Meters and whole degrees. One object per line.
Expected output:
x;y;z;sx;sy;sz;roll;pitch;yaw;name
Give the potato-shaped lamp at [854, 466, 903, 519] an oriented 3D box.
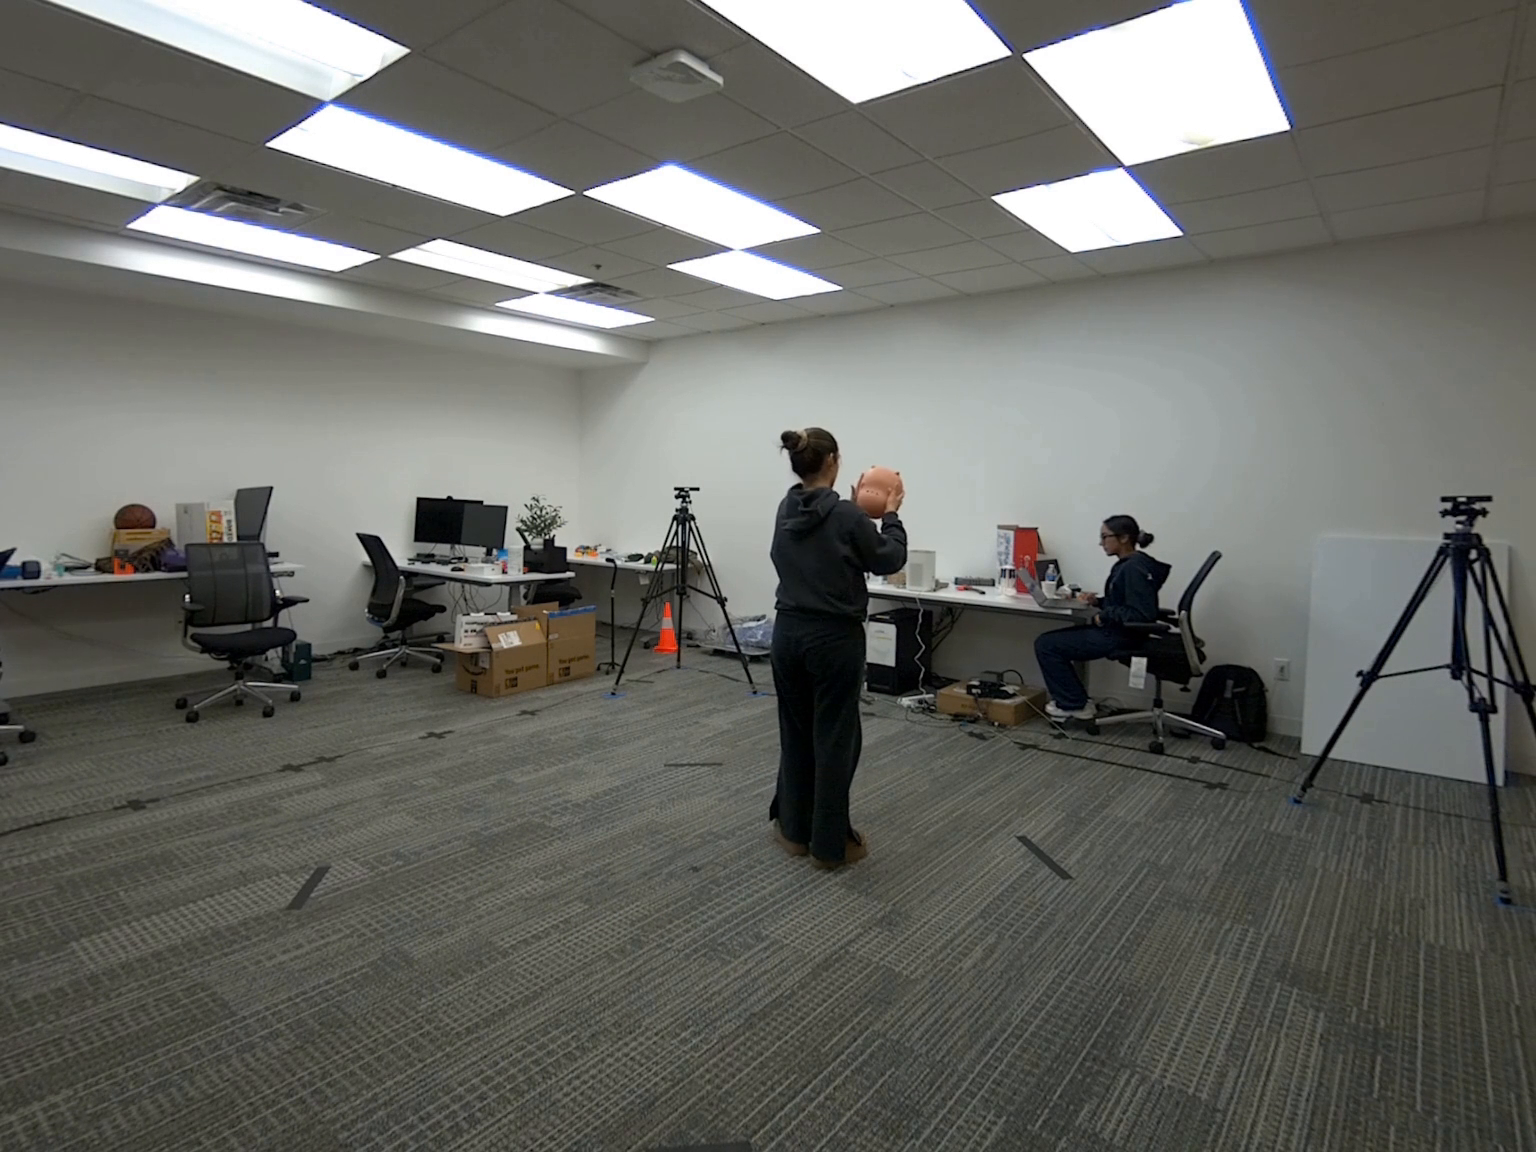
0.418;-0.333;3.362;0.170;0.165;0.199;19;55;27;potato-shaped lamp
